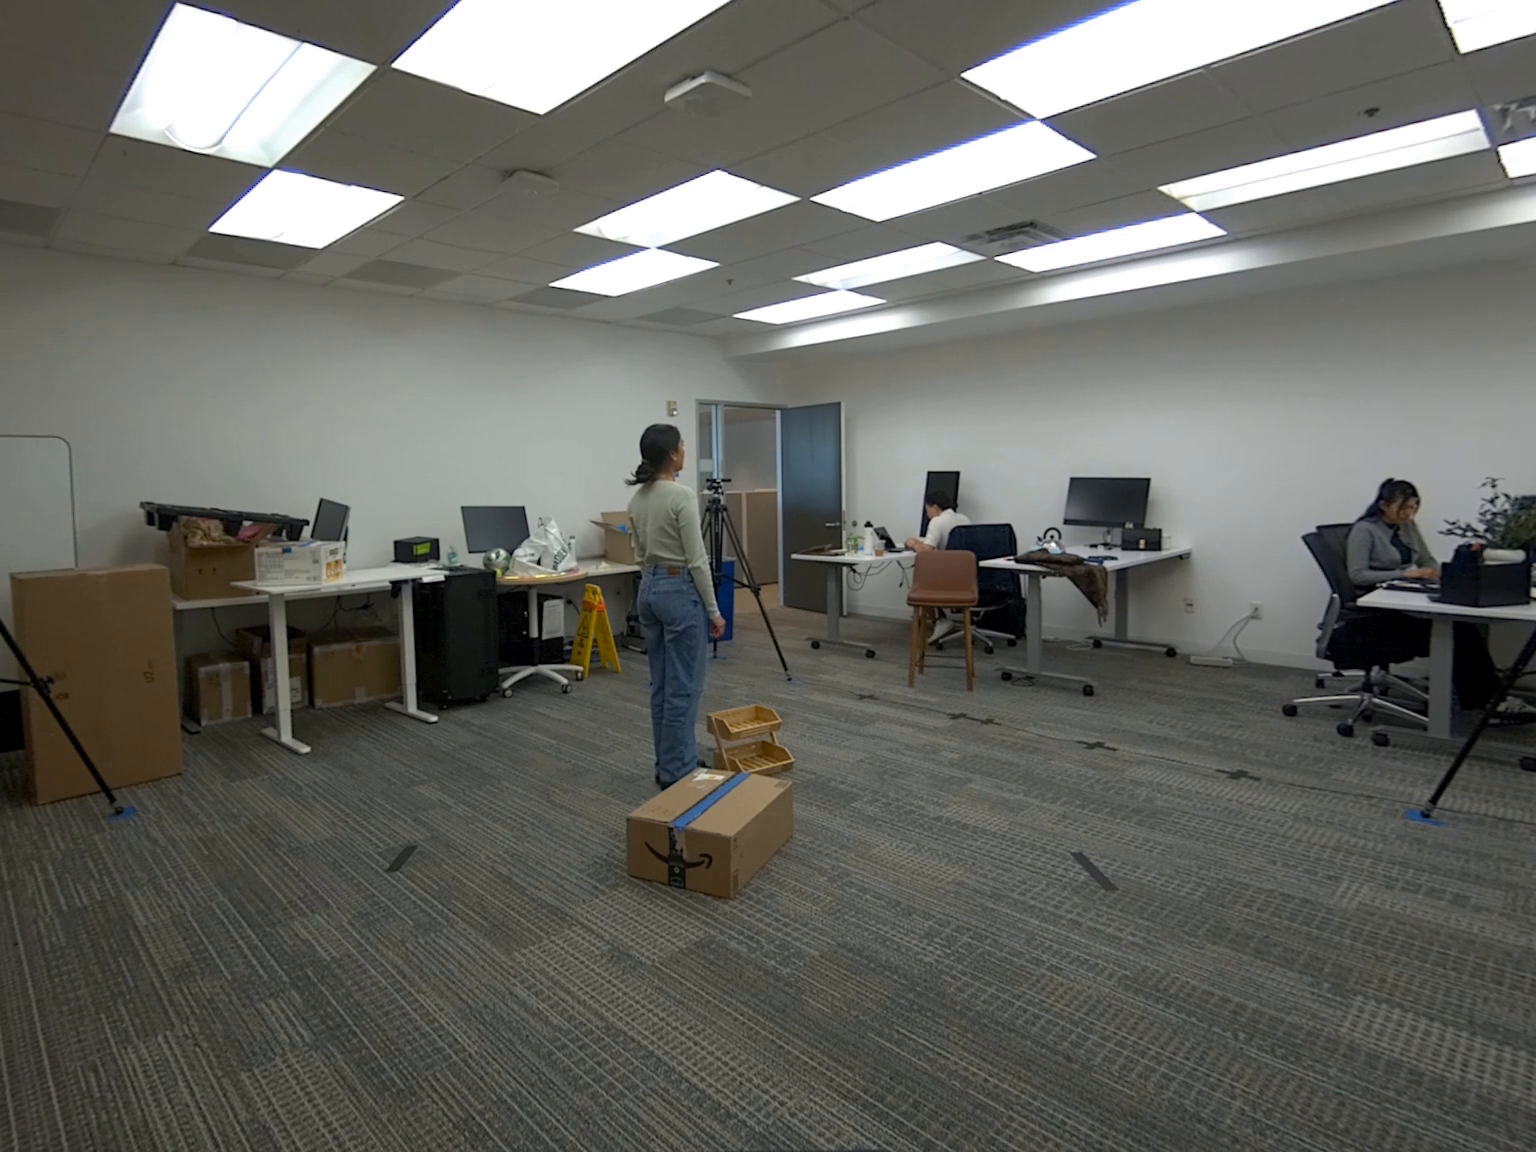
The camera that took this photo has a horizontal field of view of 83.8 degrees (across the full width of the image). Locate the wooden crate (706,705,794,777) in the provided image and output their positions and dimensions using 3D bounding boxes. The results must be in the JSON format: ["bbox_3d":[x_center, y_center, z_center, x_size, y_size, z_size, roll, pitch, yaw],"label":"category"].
[{"bbox_3d":[-0.089,0.790,4.121,0.316,0.272,0.311,-5,5,-36],"label":"wooden crate"}]
